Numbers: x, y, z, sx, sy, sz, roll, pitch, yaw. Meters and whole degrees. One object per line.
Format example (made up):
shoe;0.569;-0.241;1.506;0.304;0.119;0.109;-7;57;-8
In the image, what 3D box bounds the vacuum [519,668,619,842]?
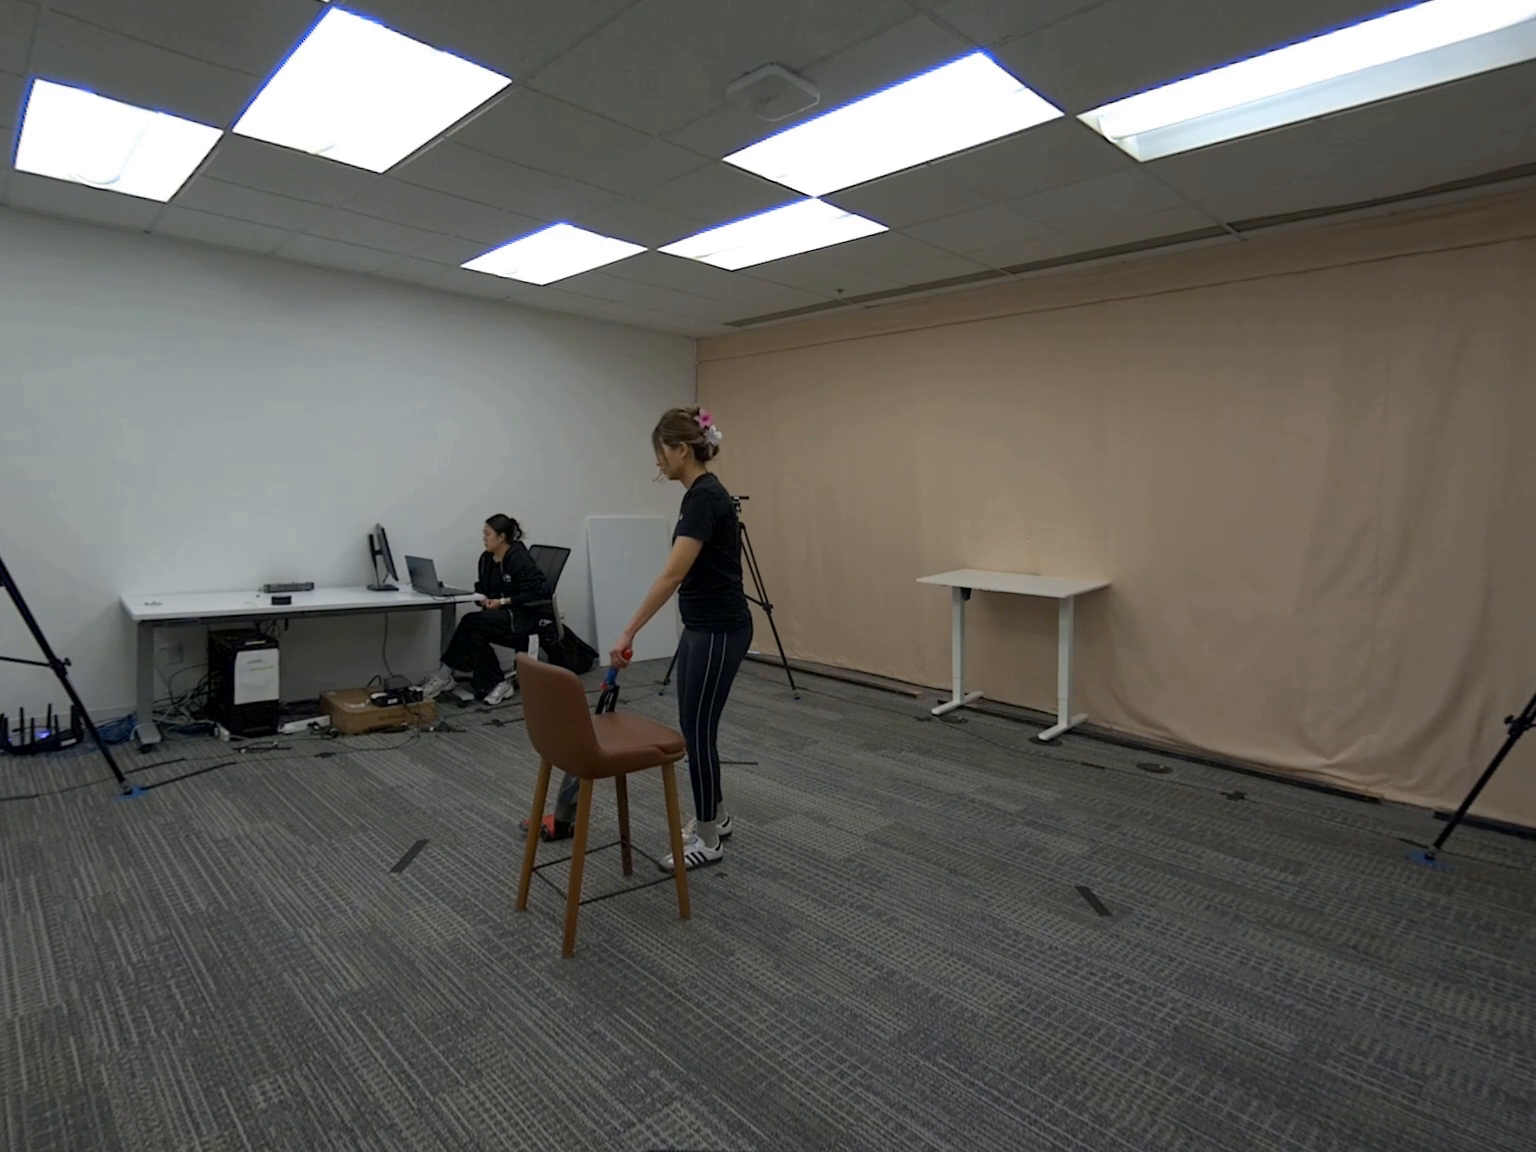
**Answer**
vacuum;-0.677;0.656;3.158;0.247;1.041;0.148;-3;44;-40
